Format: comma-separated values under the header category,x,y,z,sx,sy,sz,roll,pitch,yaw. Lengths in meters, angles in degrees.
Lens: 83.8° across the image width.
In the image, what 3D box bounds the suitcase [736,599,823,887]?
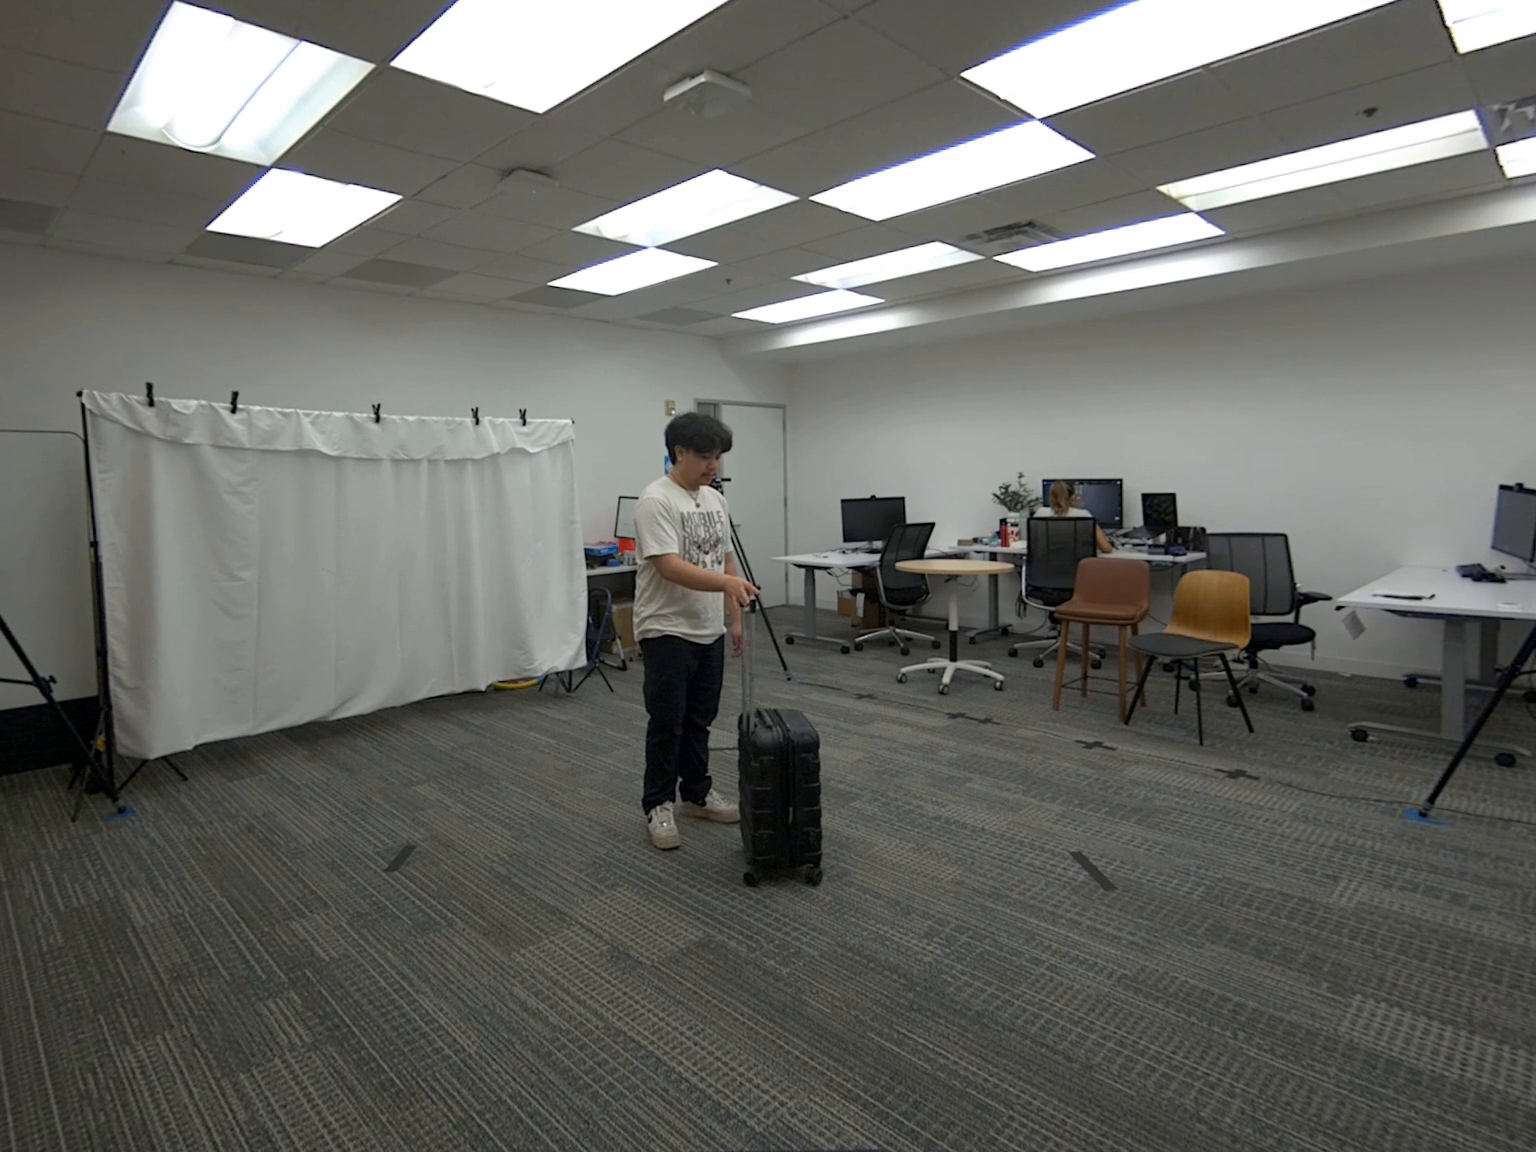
category,x,y,z,sx,sy,sz,roll,pitch,yaw
suitcase,0.041,0.572,3.058,0.255,0.975,0.388,0,4,-8
